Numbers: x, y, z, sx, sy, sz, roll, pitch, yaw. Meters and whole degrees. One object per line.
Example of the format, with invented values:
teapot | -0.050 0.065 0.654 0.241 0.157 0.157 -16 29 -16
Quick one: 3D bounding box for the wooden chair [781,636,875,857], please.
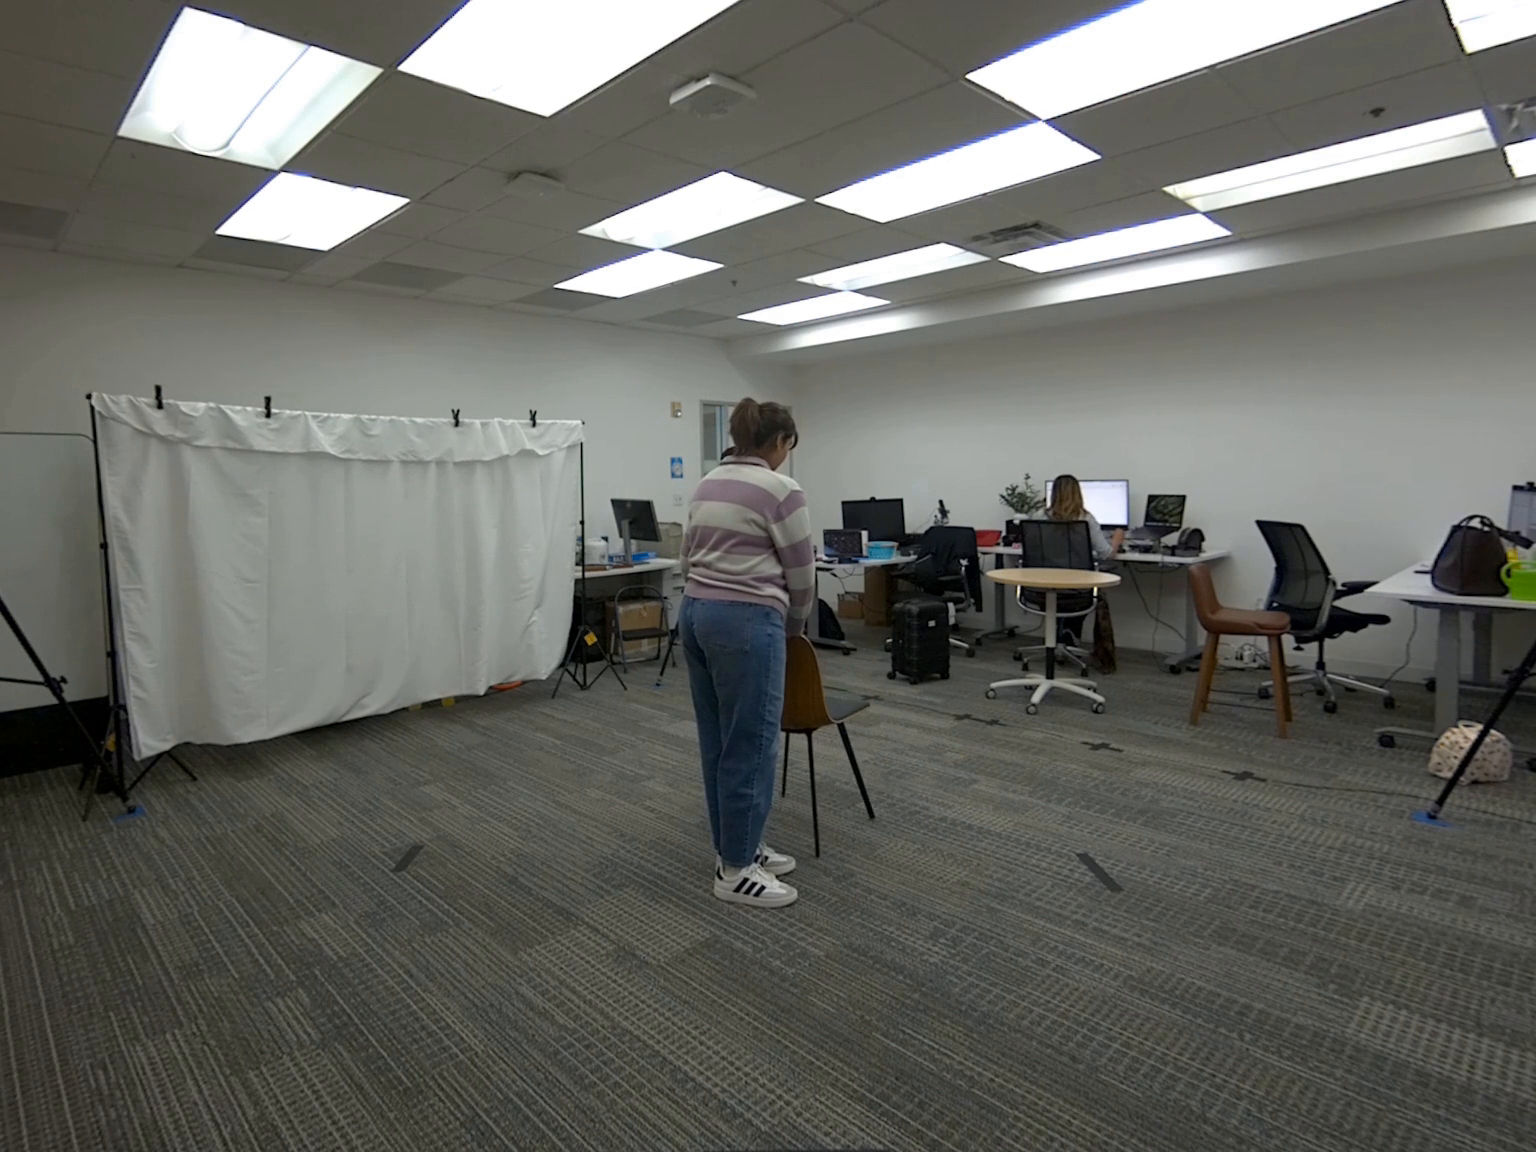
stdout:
wooden chair | 0.124 0.576 3.434 0.492 0.871 0.512 2 10 36
